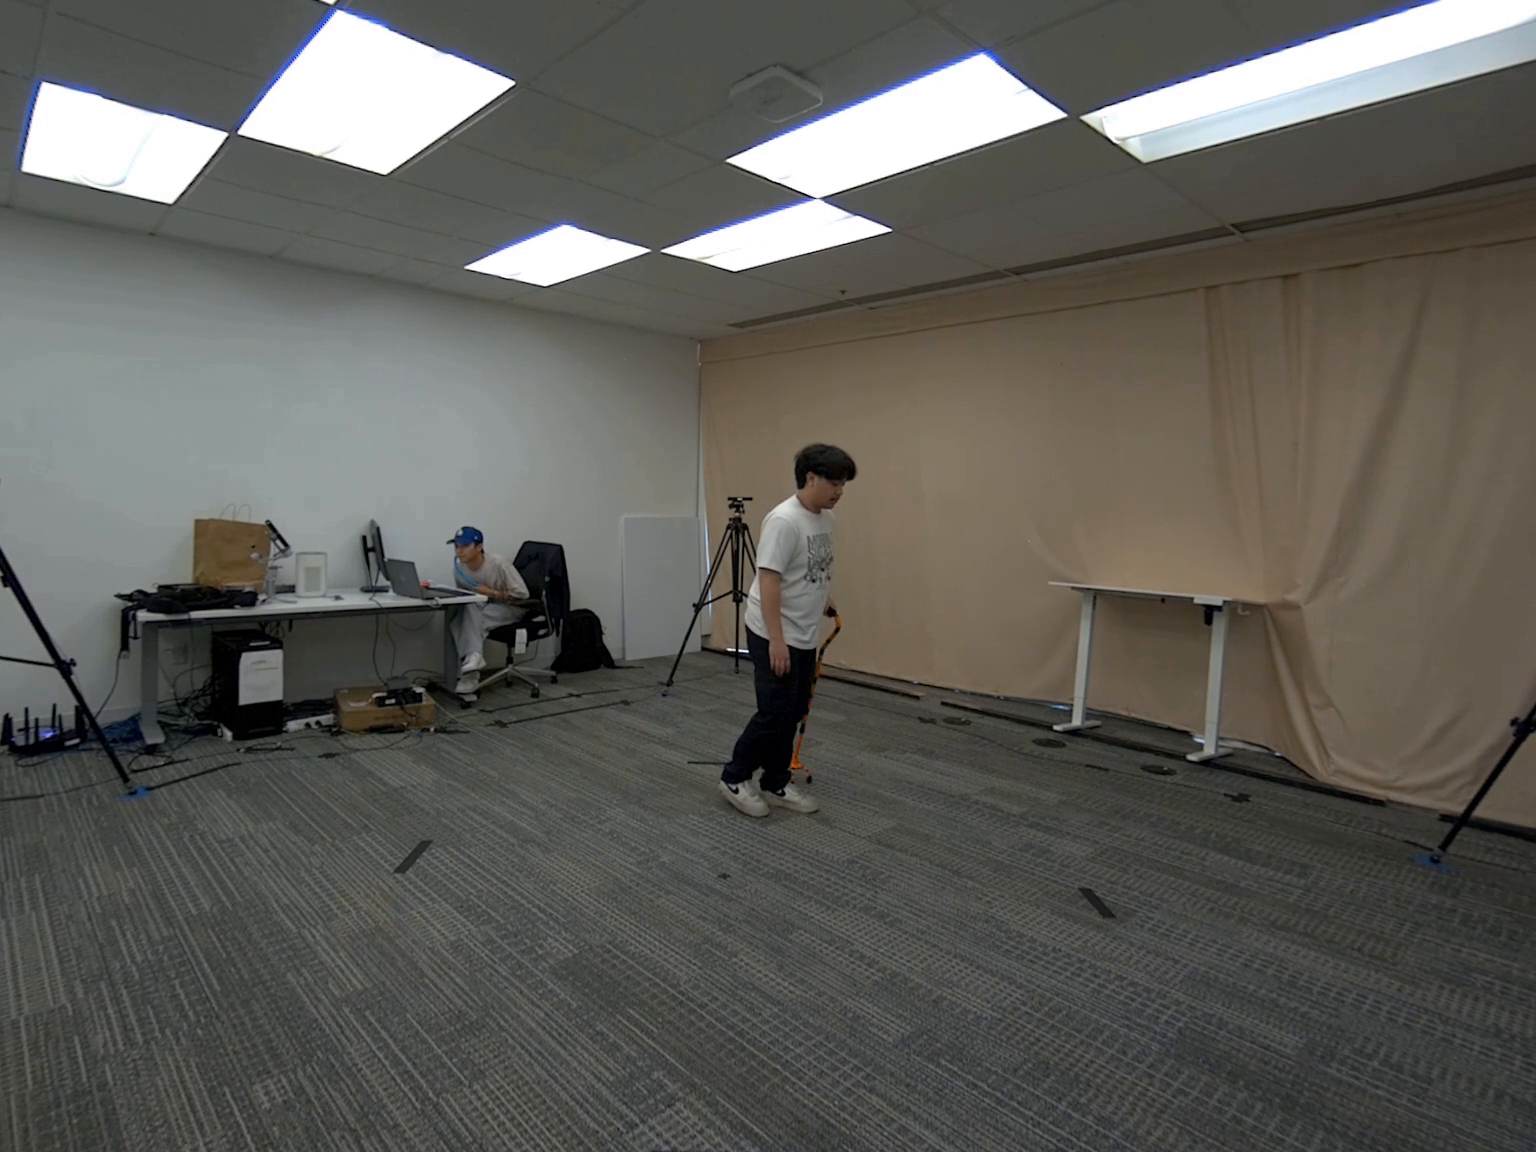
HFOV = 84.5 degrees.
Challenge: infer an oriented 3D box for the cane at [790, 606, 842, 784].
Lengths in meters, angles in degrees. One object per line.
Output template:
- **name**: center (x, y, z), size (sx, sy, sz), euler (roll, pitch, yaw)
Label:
- **cane**: center (0.190, 0.577, 4.059), size (0.148, 0.900, 0.213), euler (-4, 25, -45)
